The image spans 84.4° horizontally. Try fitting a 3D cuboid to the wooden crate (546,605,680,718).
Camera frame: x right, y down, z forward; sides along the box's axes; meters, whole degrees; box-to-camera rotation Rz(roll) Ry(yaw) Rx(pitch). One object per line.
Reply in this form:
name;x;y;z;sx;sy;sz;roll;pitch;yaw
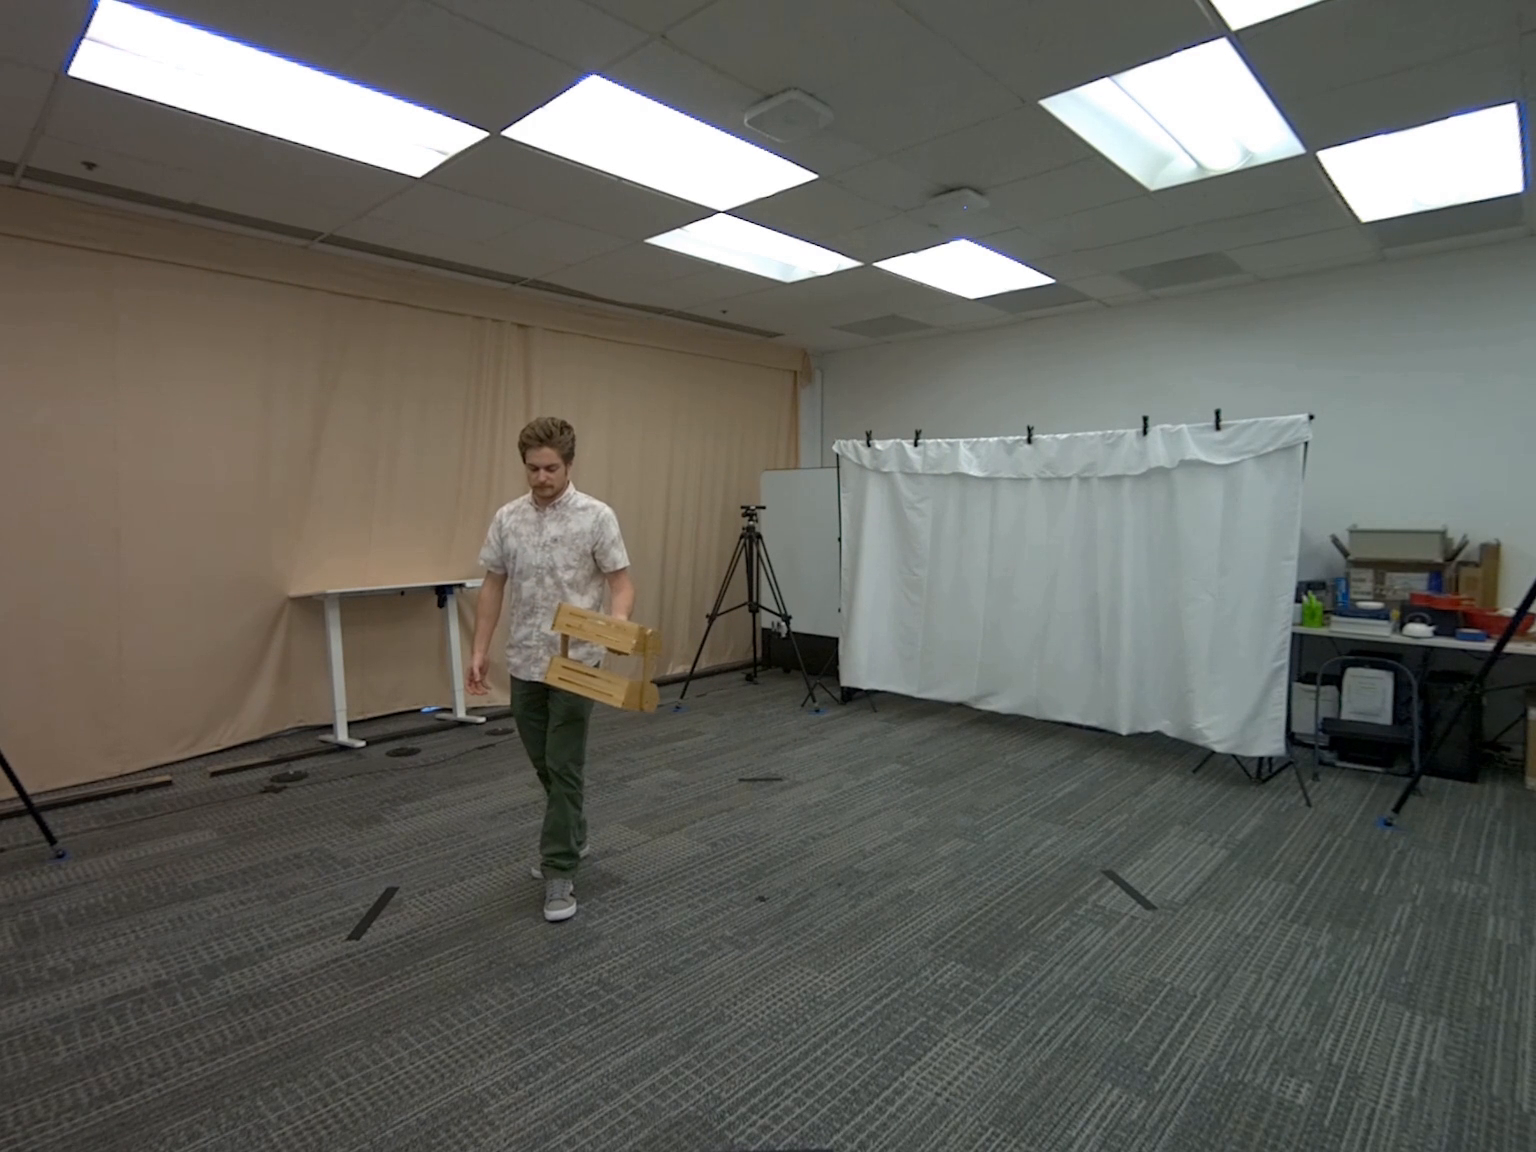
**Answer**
wooden crate;-0.524;0.264;2.721;0.332;0.274;0.294;14;-8;21
